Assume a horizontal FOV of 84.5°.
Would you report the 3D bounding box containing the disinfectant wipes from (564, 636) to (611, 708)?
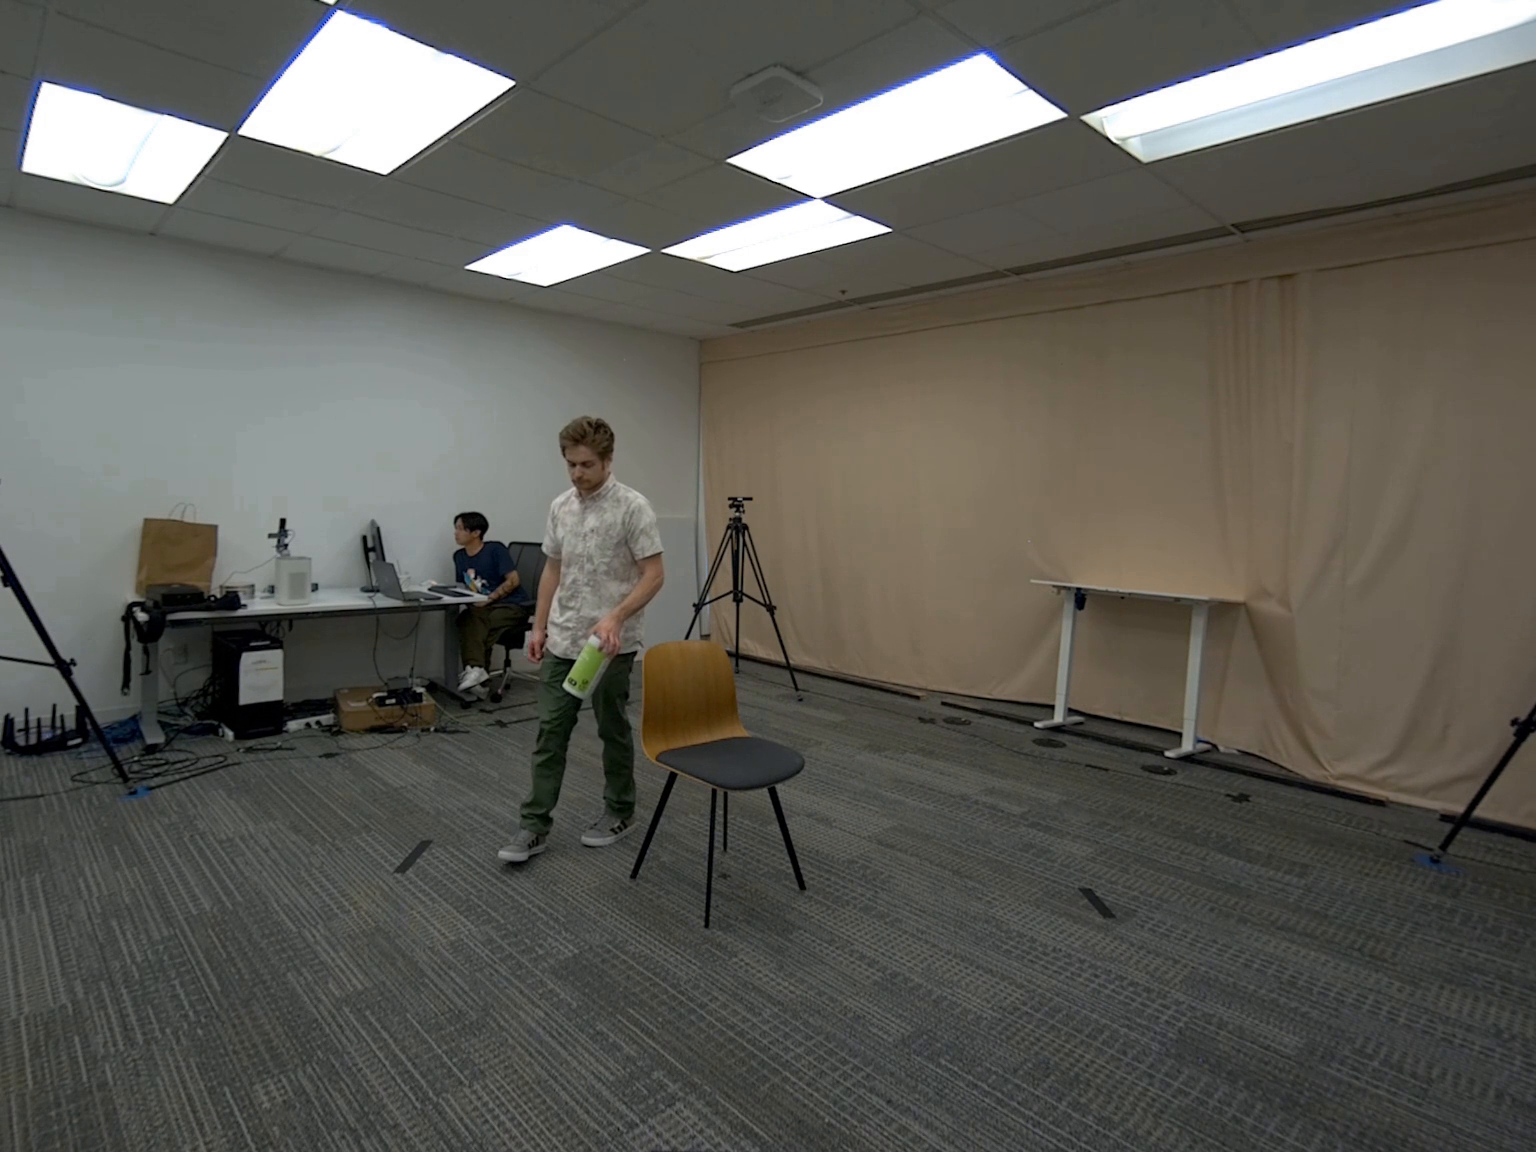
[{"bbox_3d":[-0.652,0.335,3.027,0.118,0.217,0.118,27,-1,-1],"label":"disinfectant wipes"}]
